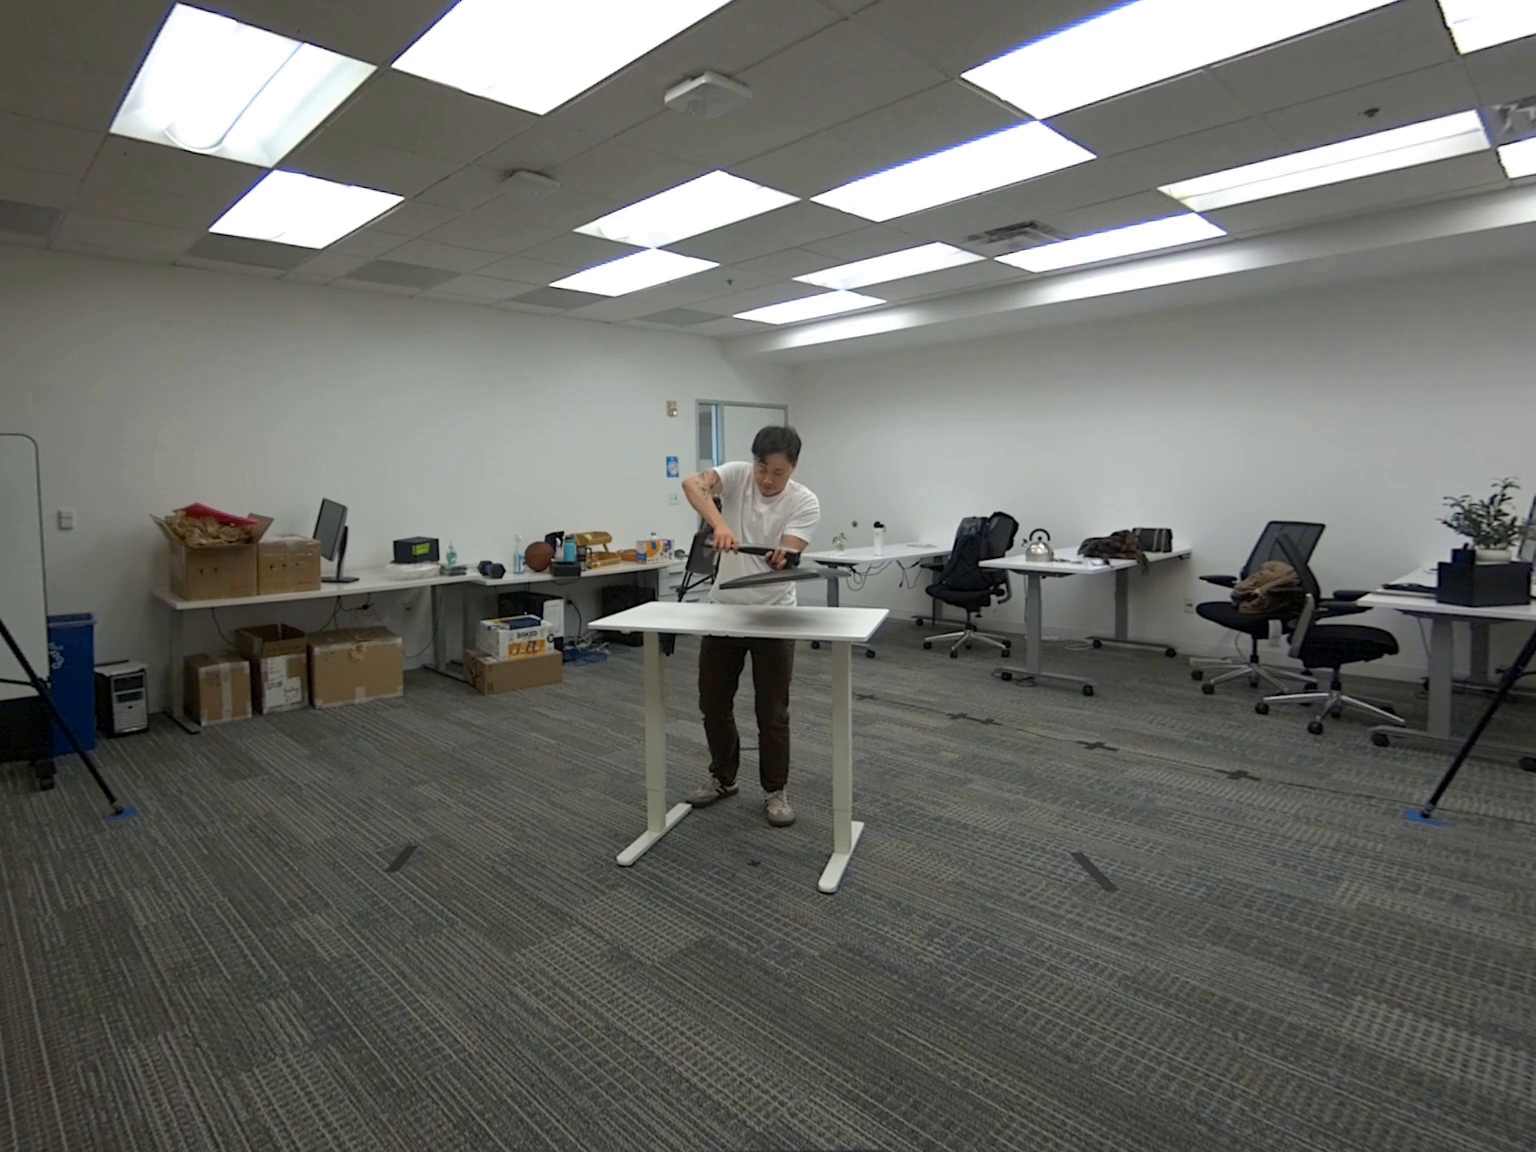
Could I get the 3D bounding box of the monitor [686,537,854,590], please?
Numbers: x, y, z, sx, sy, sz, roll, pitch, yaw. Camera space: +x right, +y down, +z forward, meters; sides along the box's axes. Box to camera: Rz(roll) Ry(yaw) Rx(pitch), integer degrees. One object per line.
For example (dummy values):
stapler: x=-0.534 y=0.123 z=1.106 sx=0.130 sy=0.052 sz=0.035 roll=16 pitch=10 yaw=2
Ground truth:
monitor: x=-0.006 y=-0.039 z=3.127 sx=0.533 sy=0.186 sz=0.530 roll=12 pitch=6 yaw=17
